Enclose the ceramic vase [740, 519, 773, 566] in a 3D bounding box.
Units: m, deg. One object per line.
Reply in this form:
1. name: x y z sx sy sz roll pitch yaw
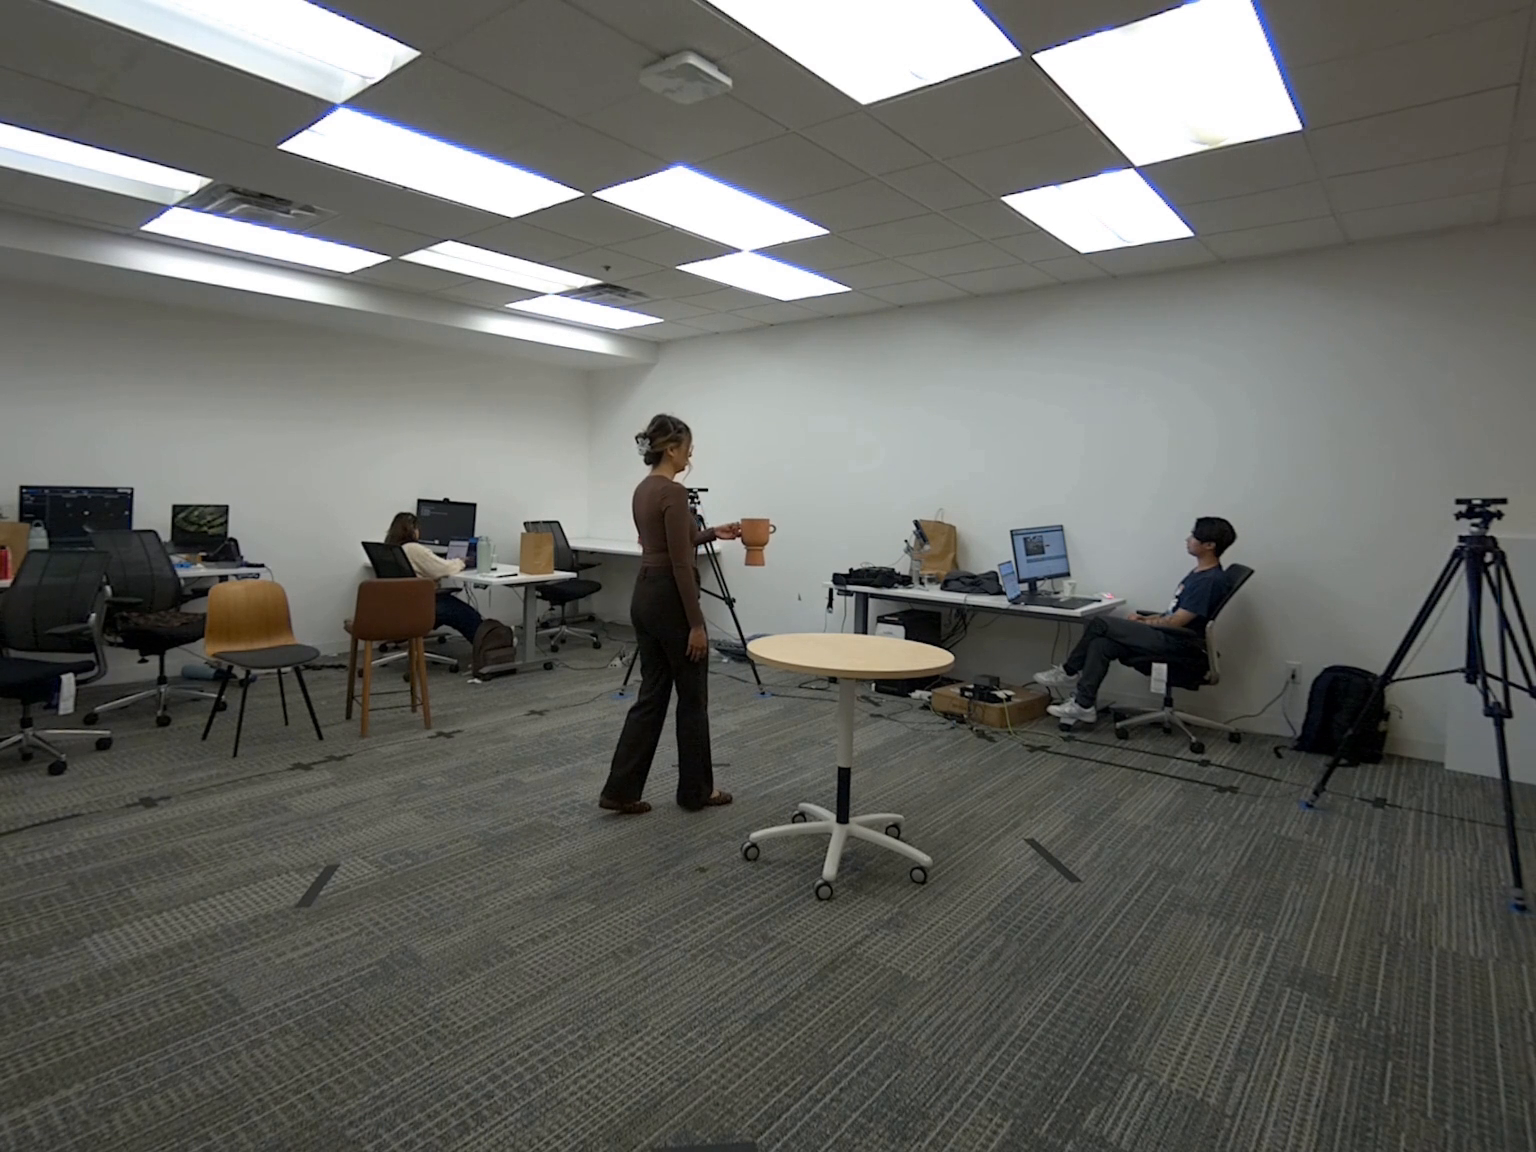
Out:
1. ceramic vase: -0.081 -0.167 3.974 0.164 0.219 0.131 5 4 34
